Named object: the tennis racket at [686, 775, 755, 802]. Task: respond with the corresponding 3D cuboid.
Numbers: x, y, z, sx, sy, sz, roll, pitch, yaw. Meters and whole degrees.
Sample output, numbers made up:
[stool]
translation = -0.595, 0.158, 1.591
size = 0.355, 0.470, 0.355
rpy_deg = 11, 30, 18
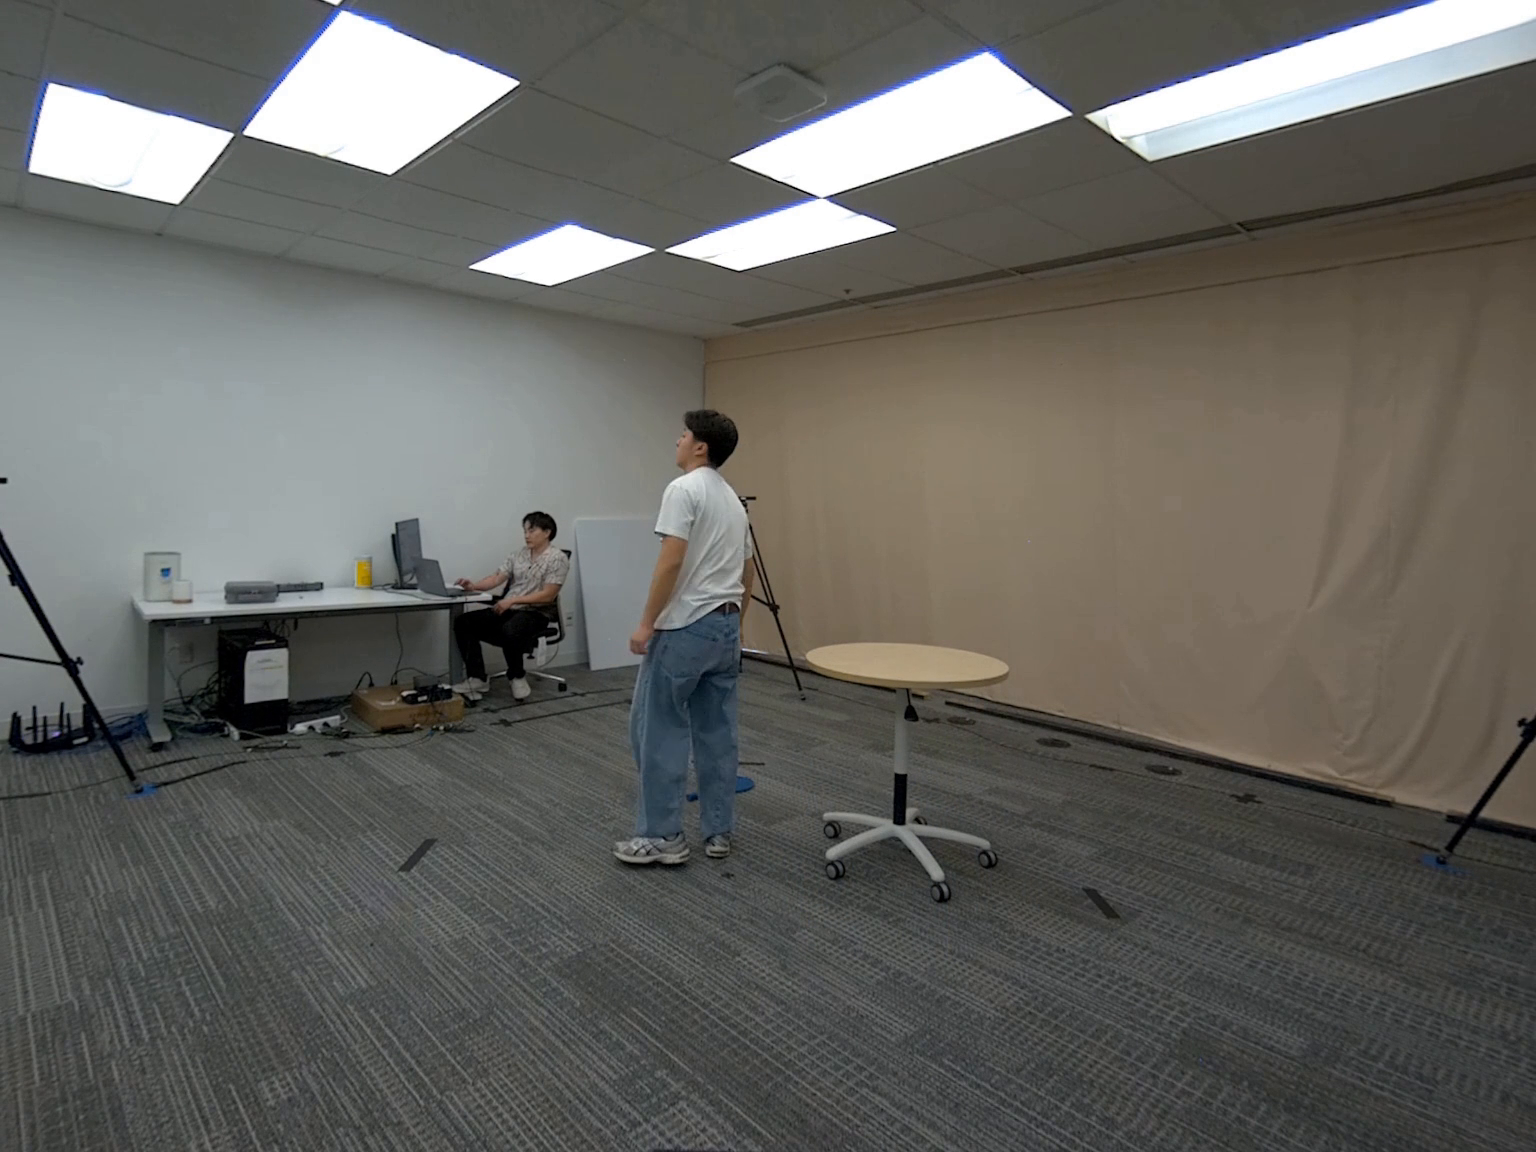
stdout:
[tennis racket]
translation = -0.246, 1.013, 4.028
size = 0.219, 0.032, 0.423
rpy_deg = 6, 5, 40
